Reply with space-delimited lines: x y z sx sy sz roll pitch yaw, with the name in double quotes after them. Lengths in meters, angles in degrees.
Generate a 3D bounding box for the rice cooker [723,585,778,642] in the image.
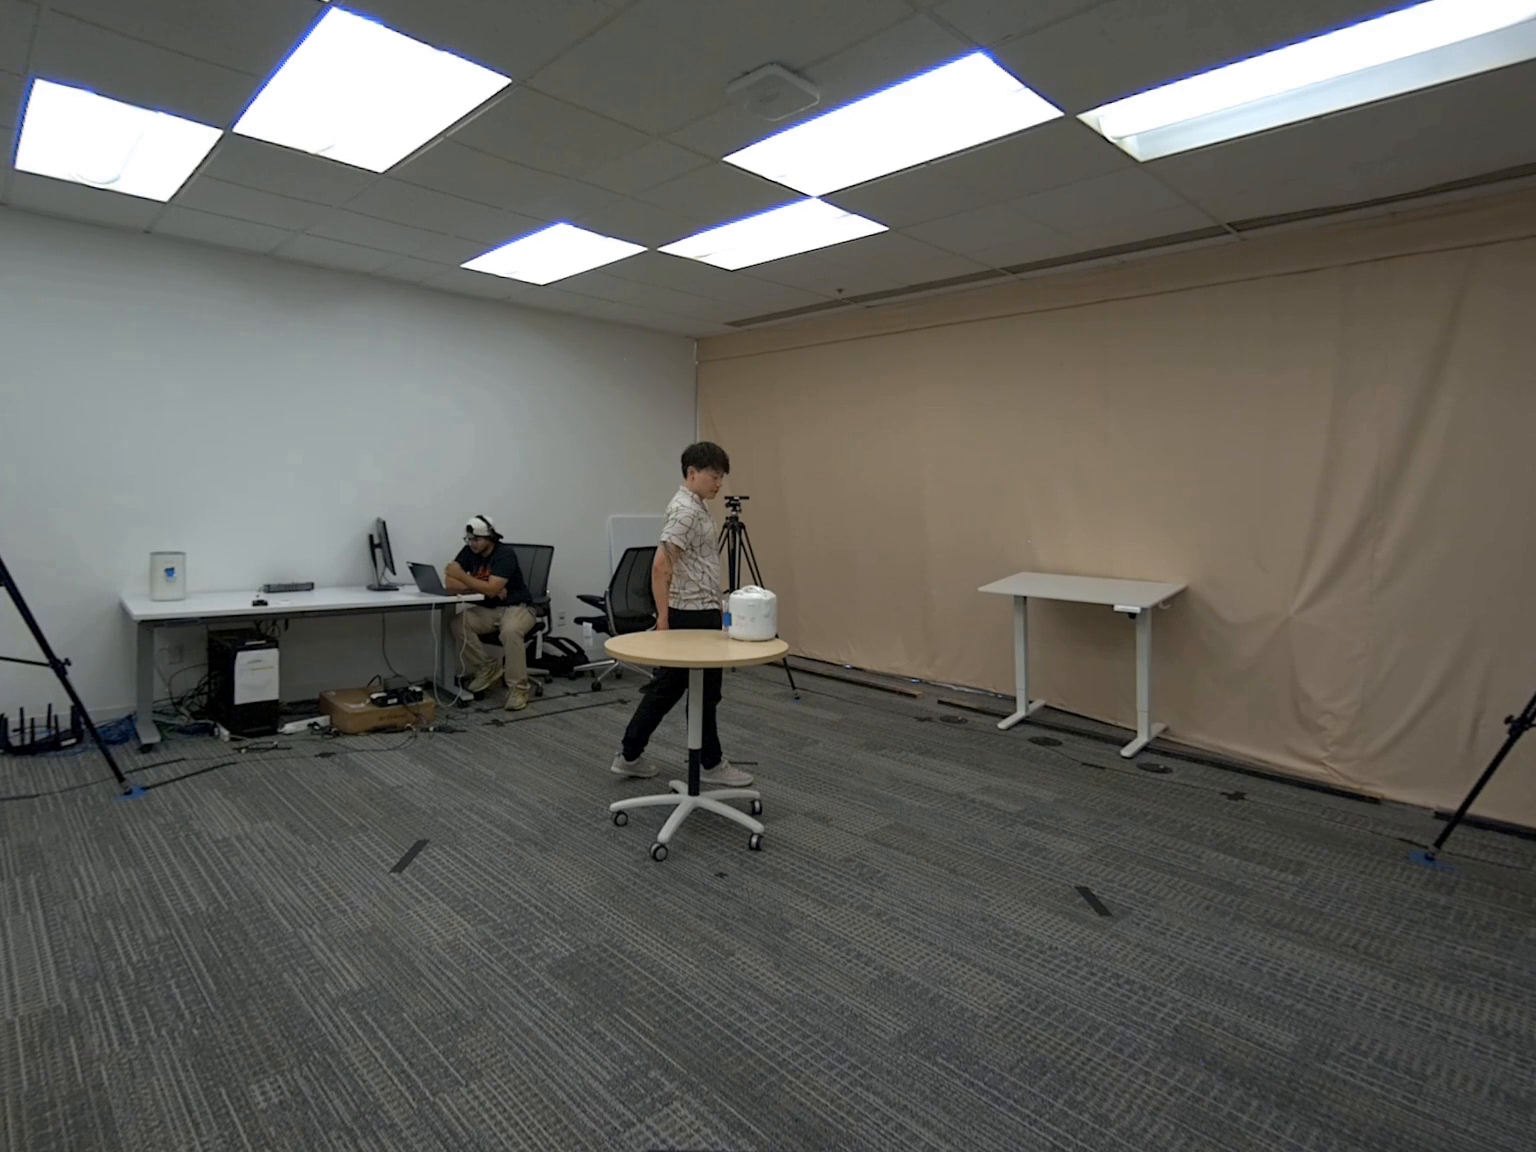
-0.074 0.157 3.664 0.213 0.232 0.226 -2 6 -35 "rice cooker"
